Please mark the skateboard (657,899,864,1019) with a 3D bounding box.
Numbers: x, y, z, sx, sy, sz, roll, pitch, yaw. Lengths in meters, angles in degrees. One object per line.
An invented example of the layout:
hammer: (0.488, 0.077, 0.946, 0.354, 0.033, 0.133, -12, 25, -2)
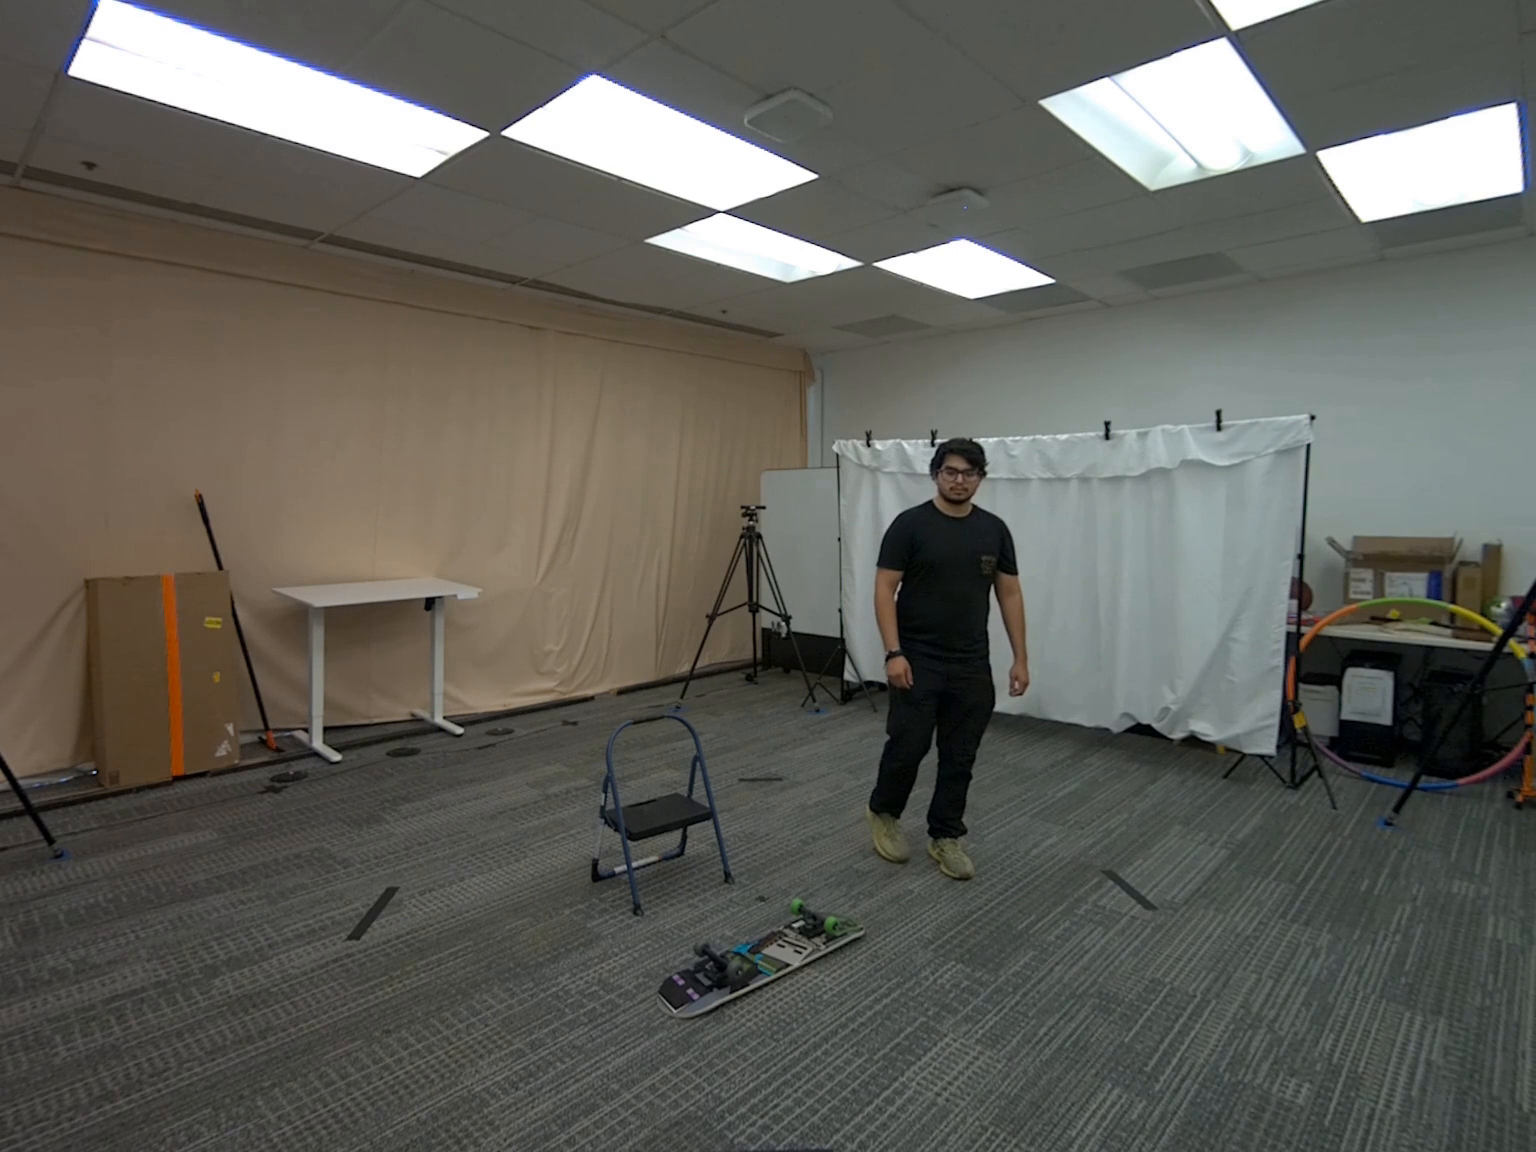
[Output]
skateboard: (0.007, 1.128, 2.560, 0.762, 0.110, 0.200, -4, 6, -41)
